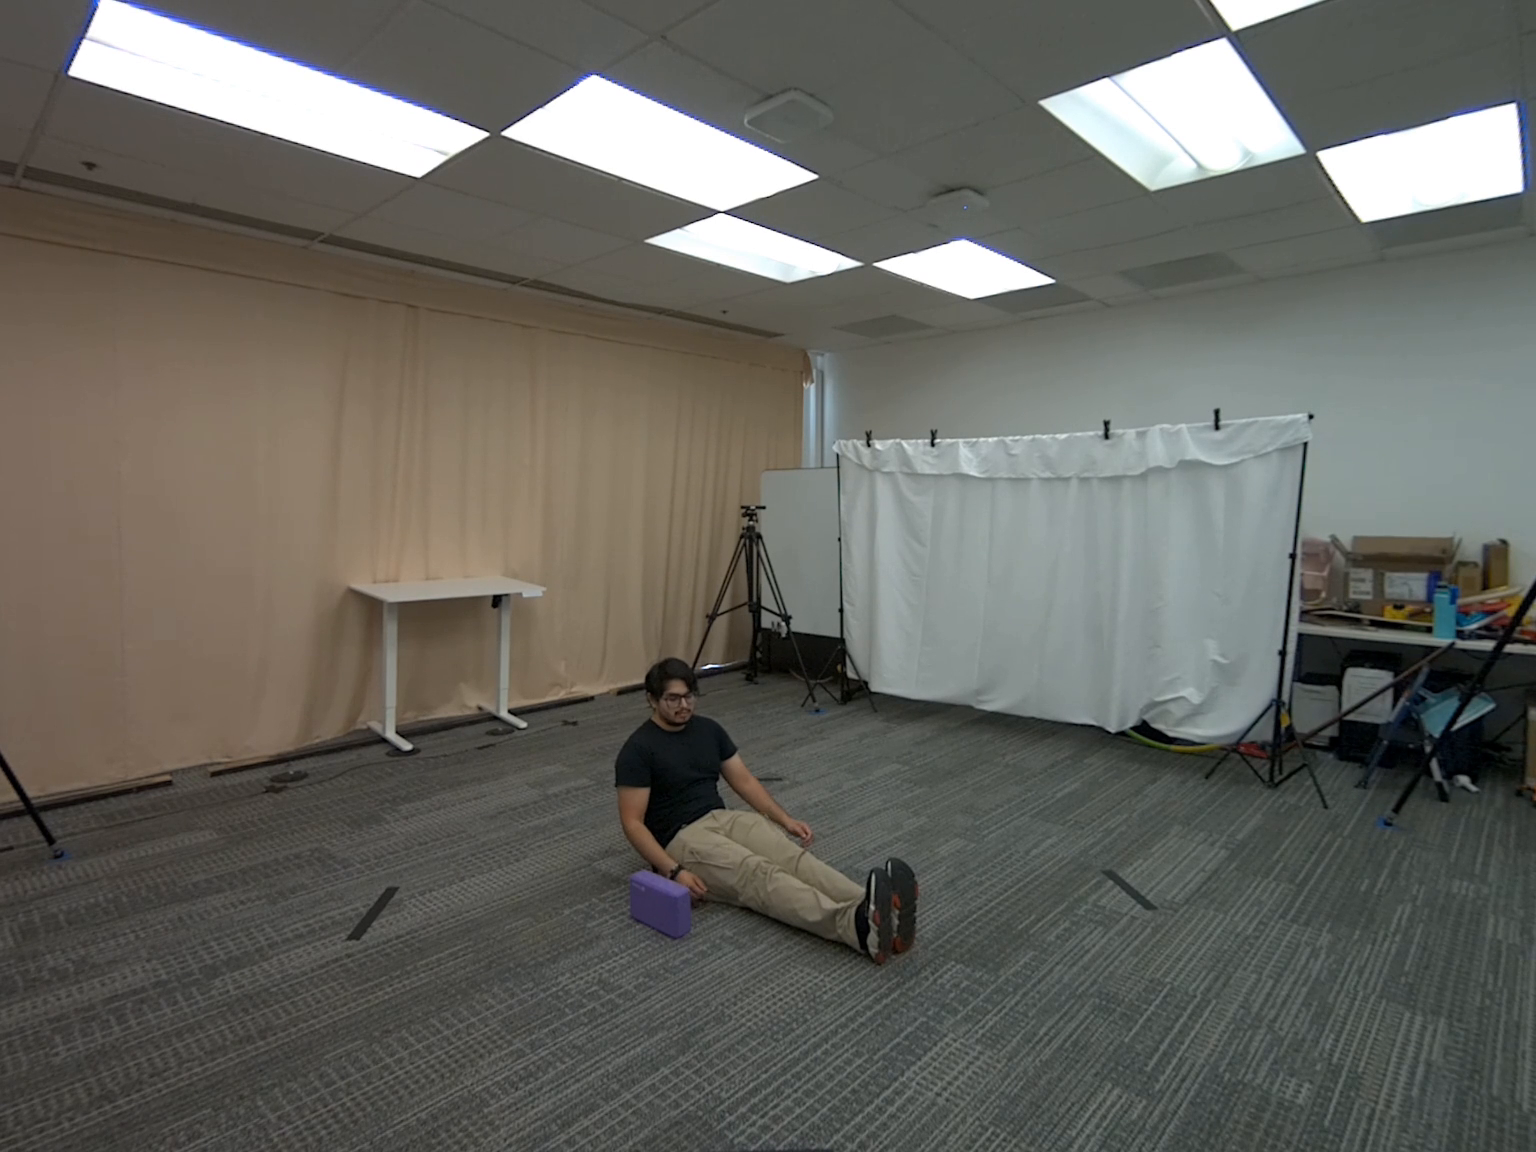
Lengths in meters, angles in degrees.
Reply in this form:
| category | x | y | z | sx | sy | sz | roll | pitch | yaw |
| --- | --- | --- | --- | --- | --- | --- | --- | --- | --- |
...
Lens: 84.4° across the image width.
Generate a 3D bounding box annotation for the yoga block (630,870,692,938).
| category | x | y | z | sx | sy | sz | roll | pitch | yaw |
| --- | --- | --- | --- | --- | --- | --- | --- | --- | --- |
| yoga block | -0.362 | 1.082 | 2.799 | 0.237 | 0.148 | 0.074 | 4 | 7 | 41 |
